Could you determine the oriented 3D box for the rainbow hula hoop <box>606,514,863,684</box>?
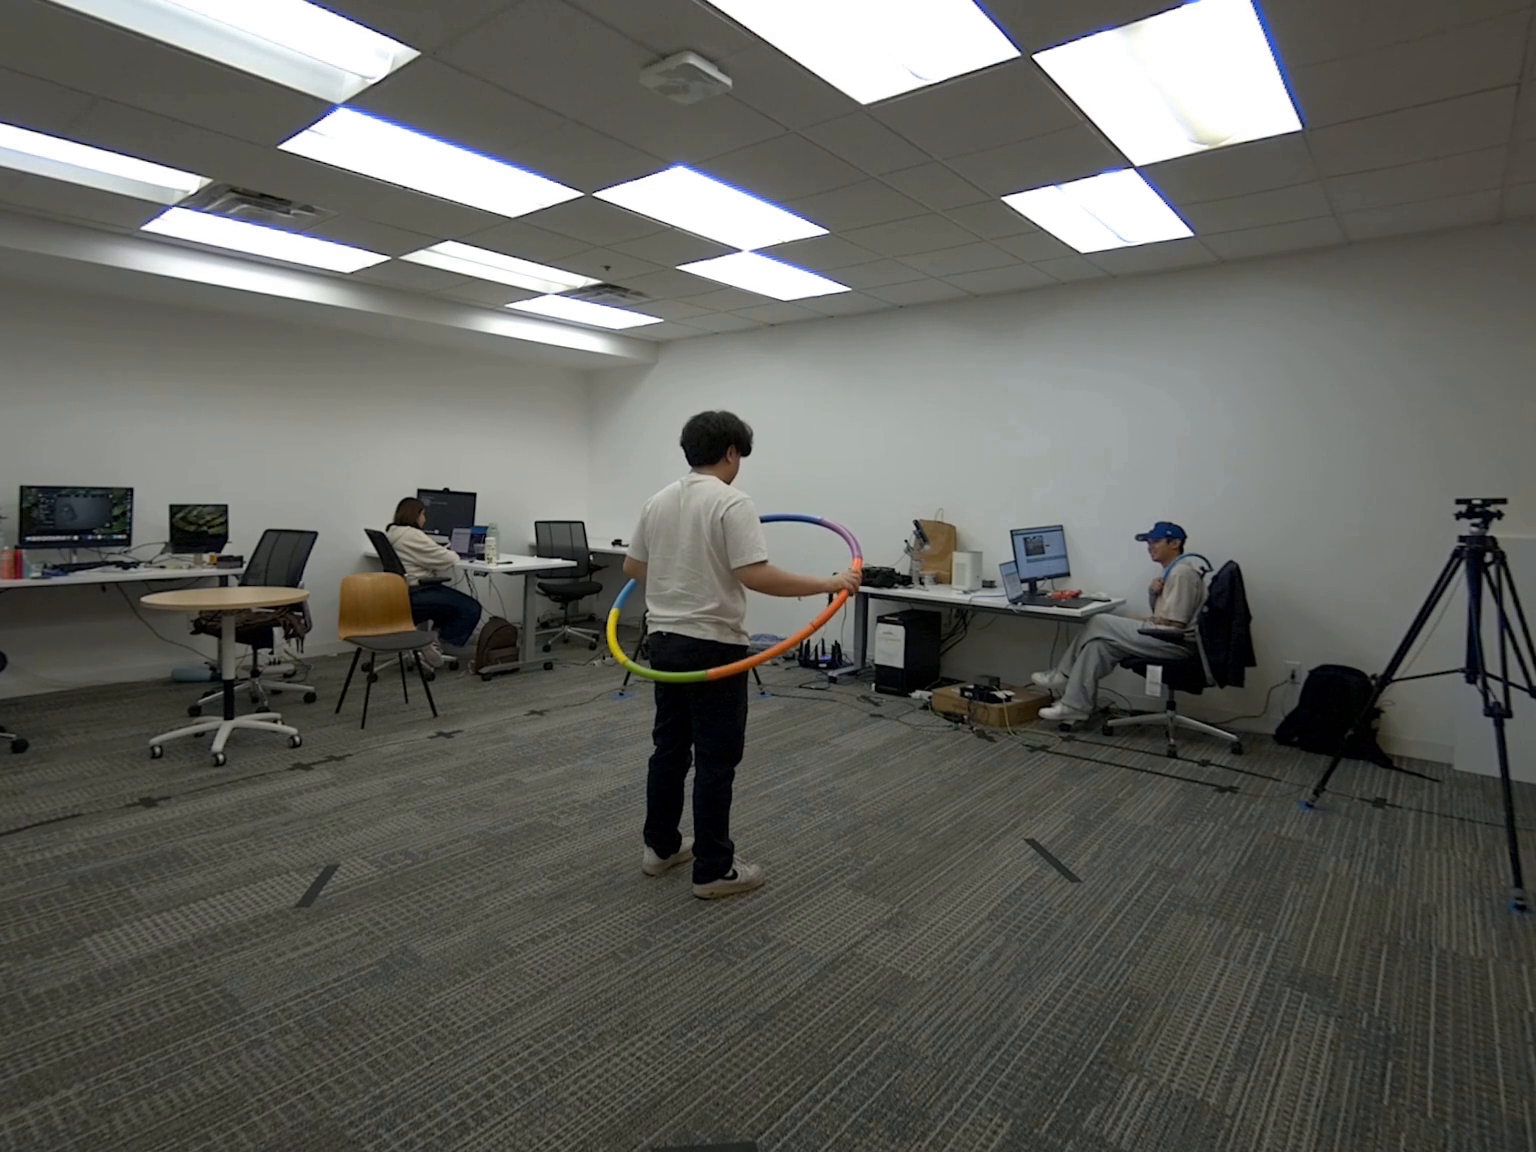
[{"bbox_3d":[-0.151,0.045,3.120,0.991,0.050,1.011,-18,30,8],"label":"rainbow hula hoop"}]
